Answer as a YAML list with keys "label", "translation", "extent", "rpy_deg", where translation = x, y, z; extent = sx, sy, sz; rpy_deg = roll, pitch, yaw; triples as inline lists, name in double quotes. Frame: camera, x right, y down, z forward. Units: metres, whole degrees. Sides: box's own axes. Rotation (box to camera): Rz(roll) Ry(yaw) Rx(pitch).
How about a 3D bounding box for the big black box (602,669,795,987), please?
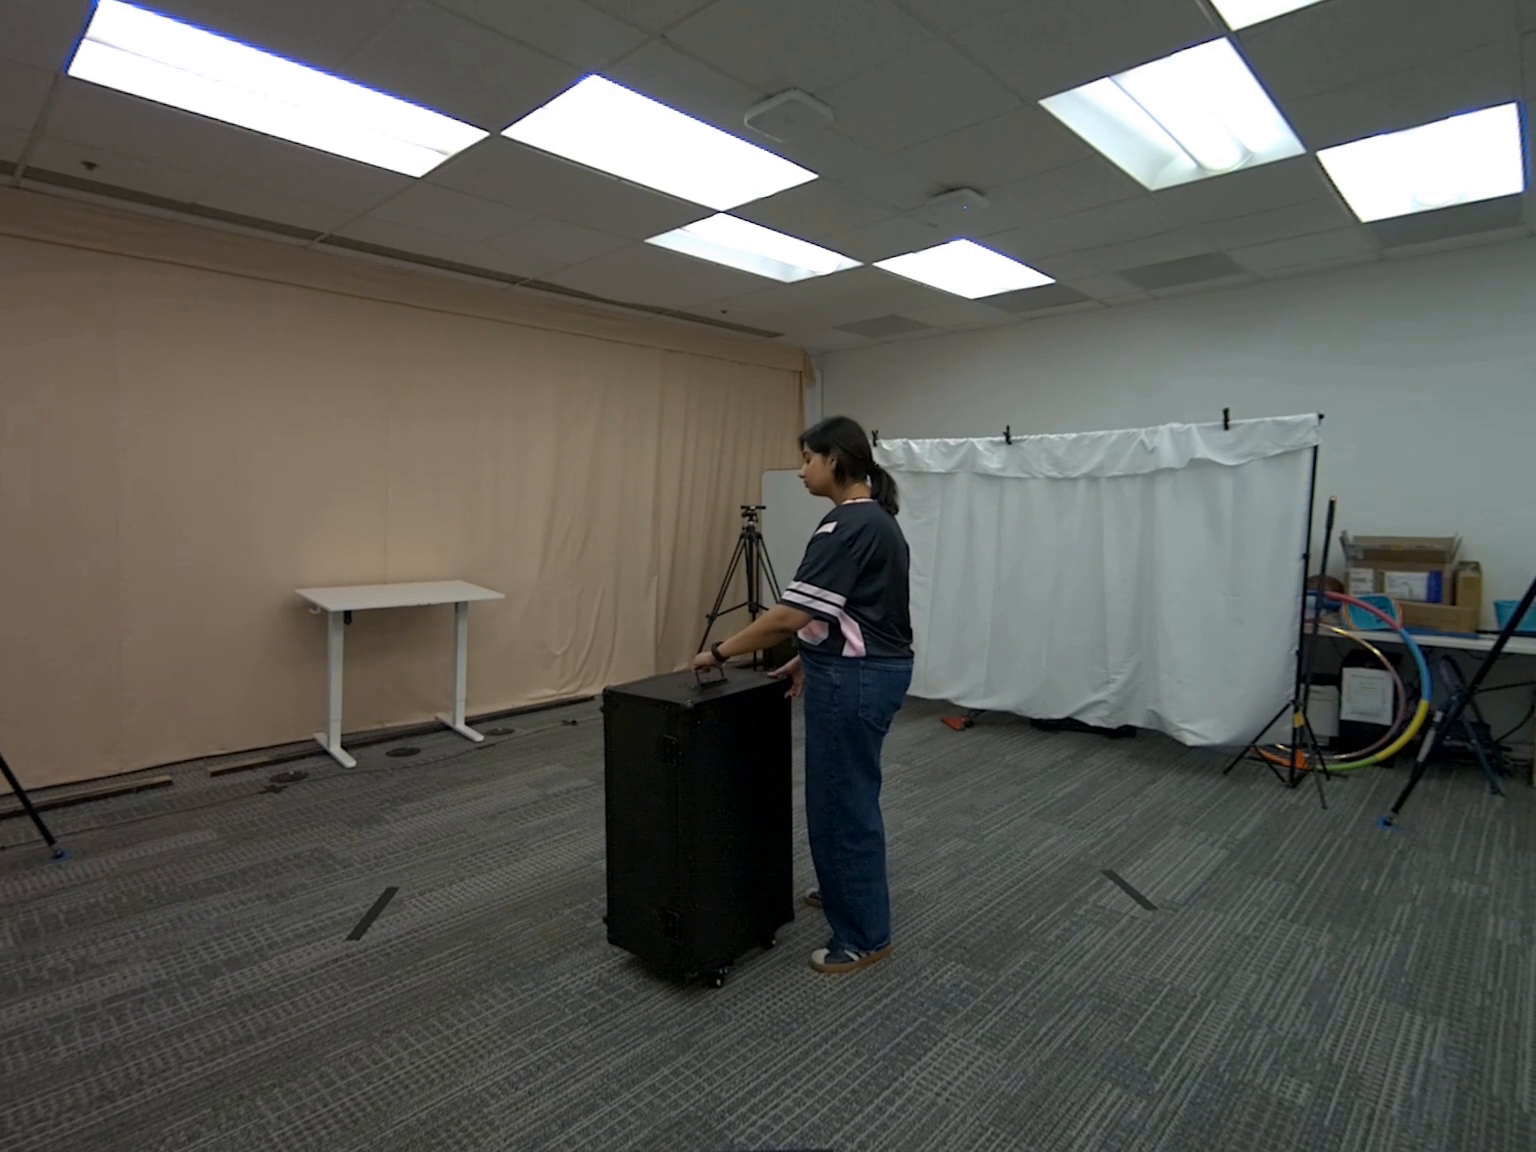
- label: "big black box"
  translation: [-0.215, 0.757, 2.597]
  extent: [0.398, 0.867, 0.507]
  rpy_deg: [2, 3, 38]
